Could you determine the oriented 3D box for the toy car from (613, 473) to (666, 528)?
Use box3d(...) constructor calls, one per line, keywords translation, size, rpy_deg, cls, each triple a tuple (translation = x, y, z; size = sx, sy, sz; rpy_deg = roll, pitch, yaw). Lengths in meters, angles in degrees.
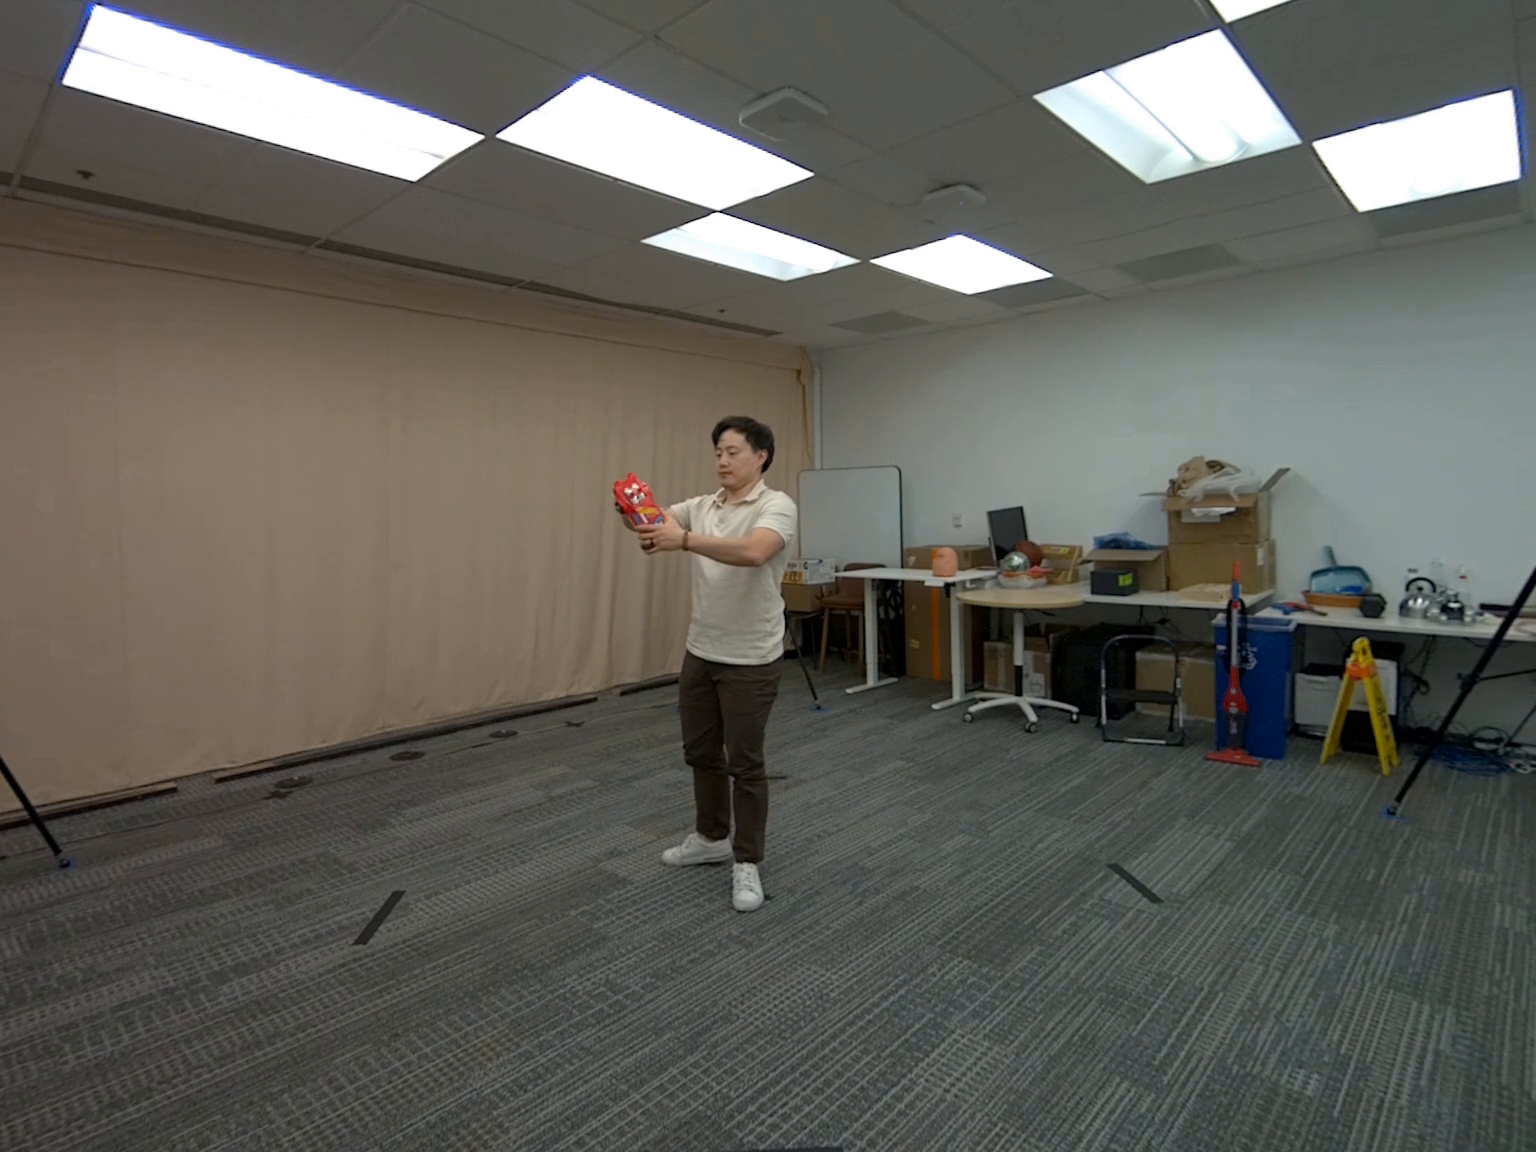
box3d(translation=(-0.396, -0.202, 2.648), size=(0.129, 0.250, 0.085), rpy_deg=(-34, 18, -21), cls="toy car")
